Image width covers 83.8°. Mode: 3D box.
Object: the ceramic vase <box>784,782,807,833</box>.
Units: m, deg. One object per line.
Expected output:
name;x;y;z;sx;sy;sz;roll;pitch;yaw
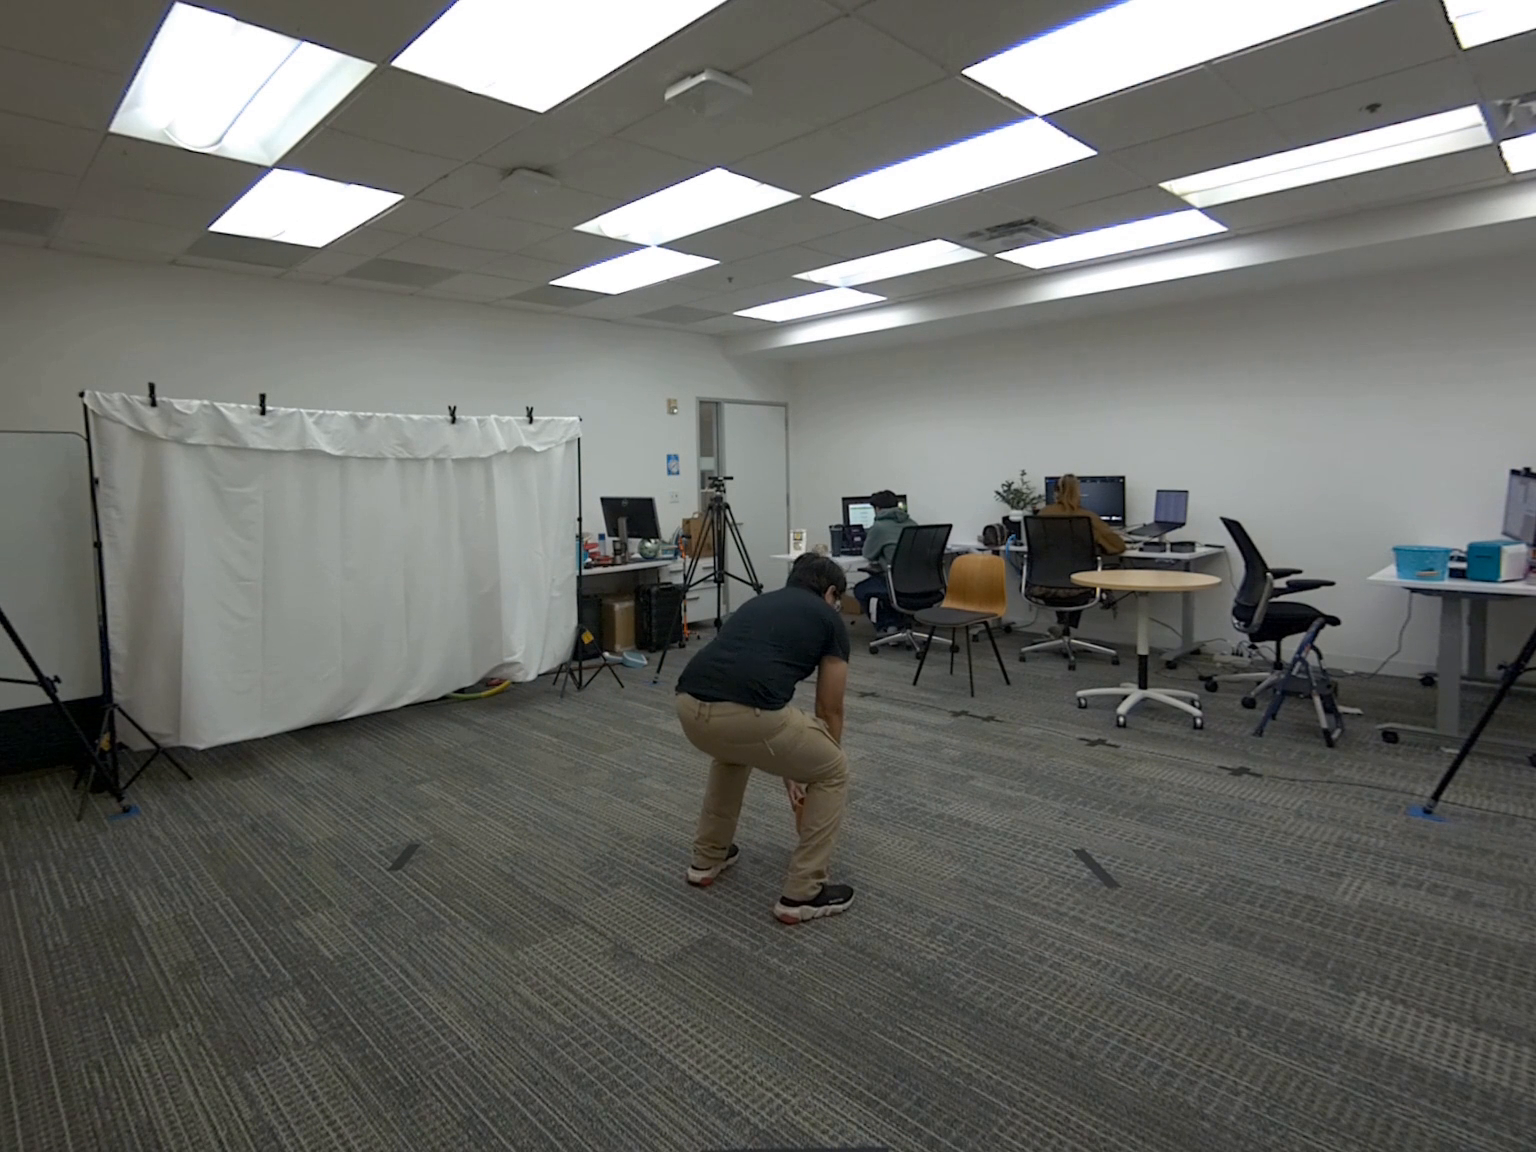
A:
ceramic vase;0.170;0.921;3.093;0.155;0.219;0.138;-5;6;-31
